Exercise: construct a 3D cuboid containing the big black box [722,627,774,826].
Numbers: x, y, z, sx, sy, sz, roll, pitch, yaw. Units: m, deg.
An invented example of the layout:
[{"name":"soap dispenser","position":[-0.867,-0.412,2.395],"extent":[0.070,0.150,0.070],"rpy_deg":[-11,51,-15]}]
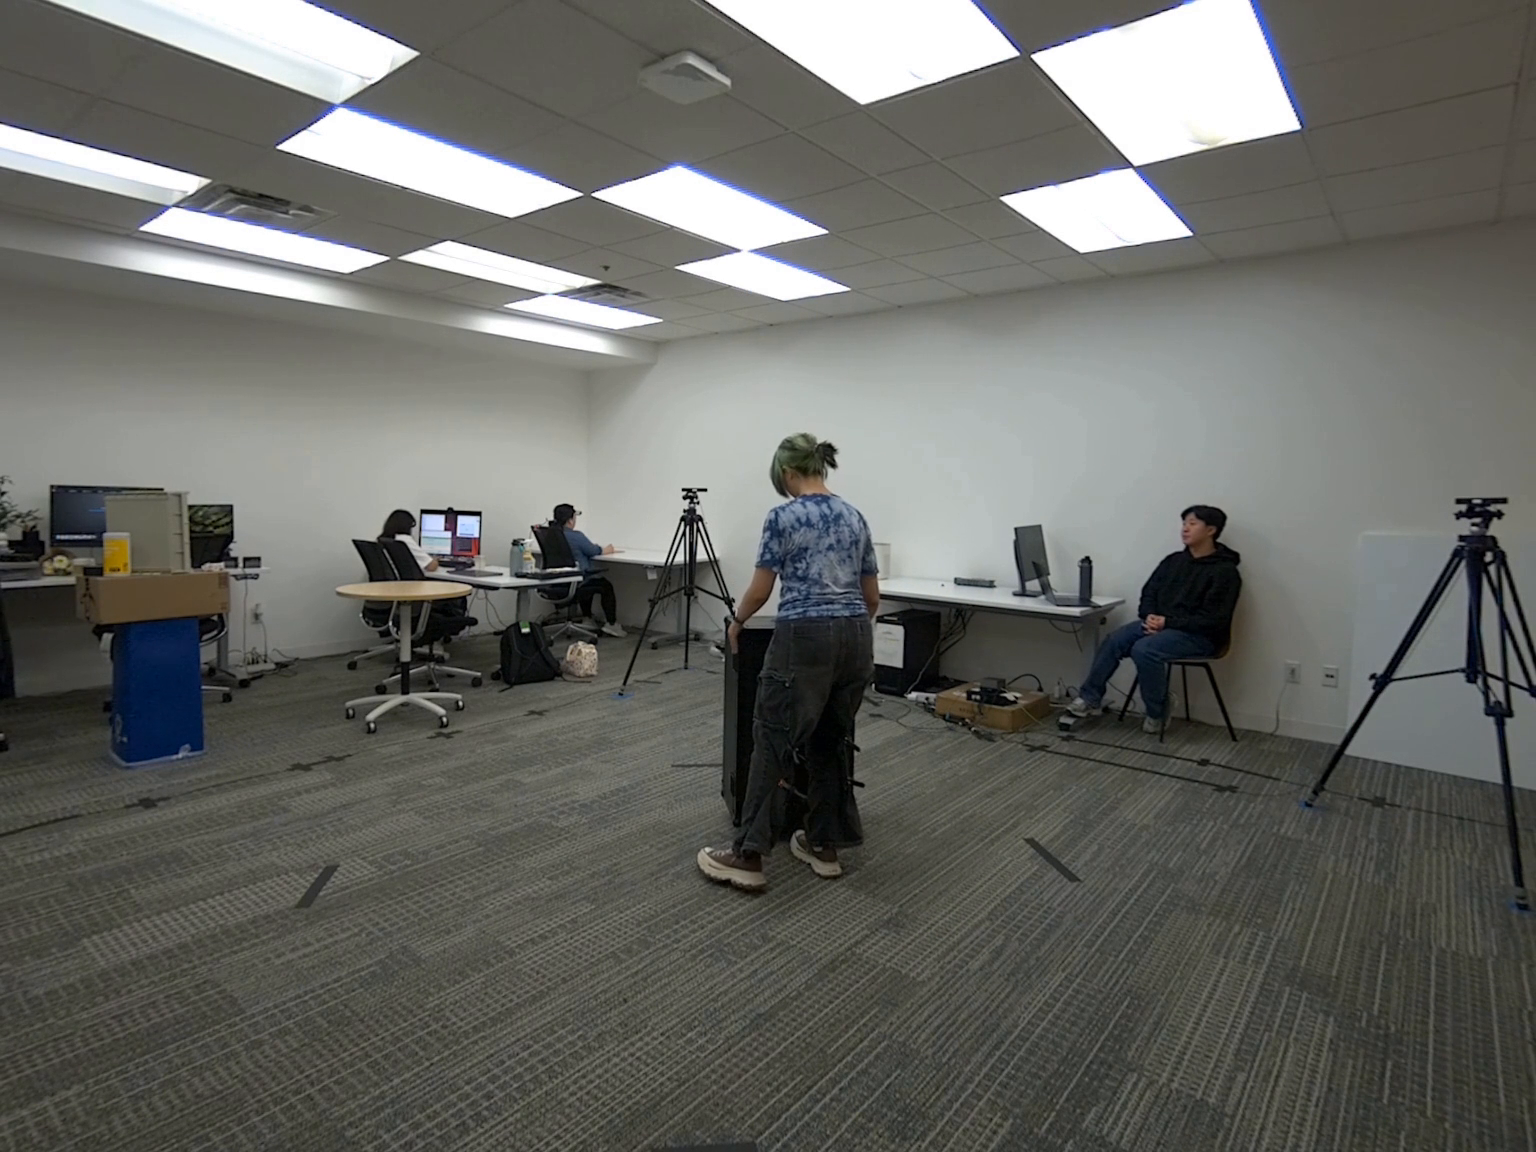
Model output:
[{"name":"big black box","position":[0.059,0.607,3.530],"extent":[0.516,0.860,0.401],"rpy_deg":[1,2,-10]}]
